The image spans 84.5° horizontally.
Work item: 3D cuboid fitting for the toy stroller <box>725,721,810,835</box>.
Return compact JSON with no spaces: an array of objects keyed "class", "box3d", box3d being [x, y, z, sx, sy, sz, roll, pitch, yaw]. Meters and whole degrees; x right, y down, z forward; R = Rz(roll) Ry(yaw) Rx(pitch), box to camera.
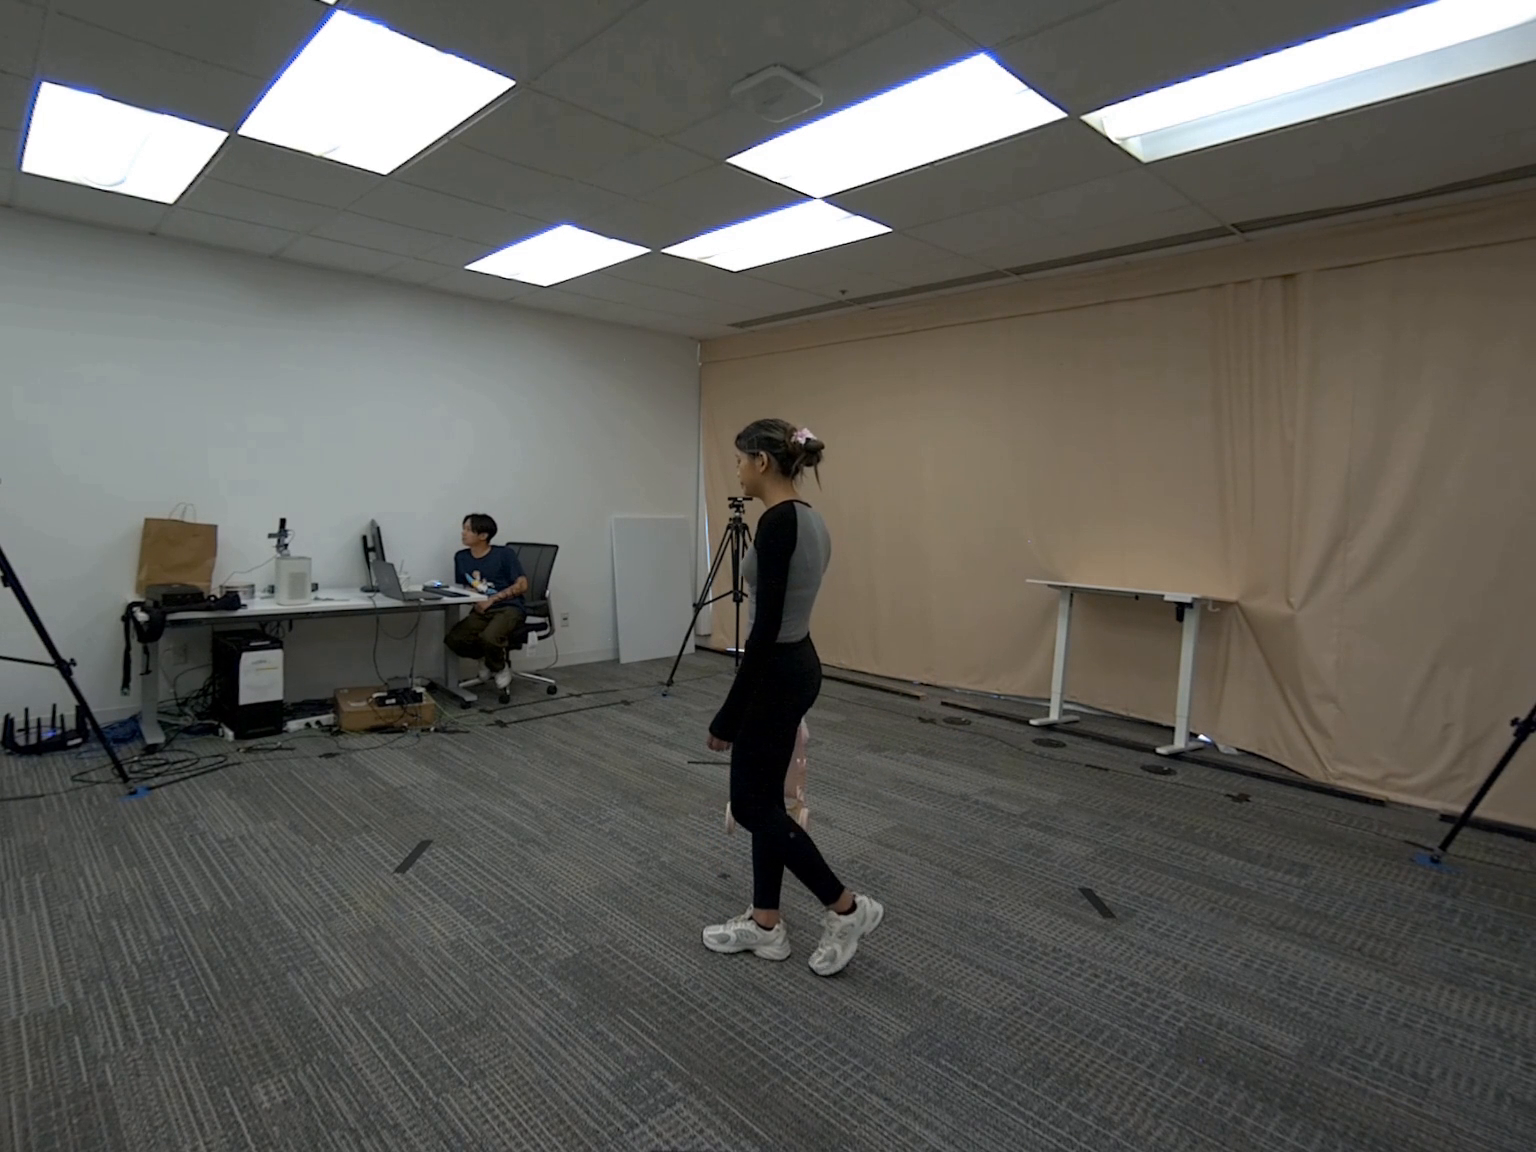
[{"class":"toy stroller","box3d":[0.019,0.674,2.937,0.285,0.535,0.337,2,-1,13]}]
